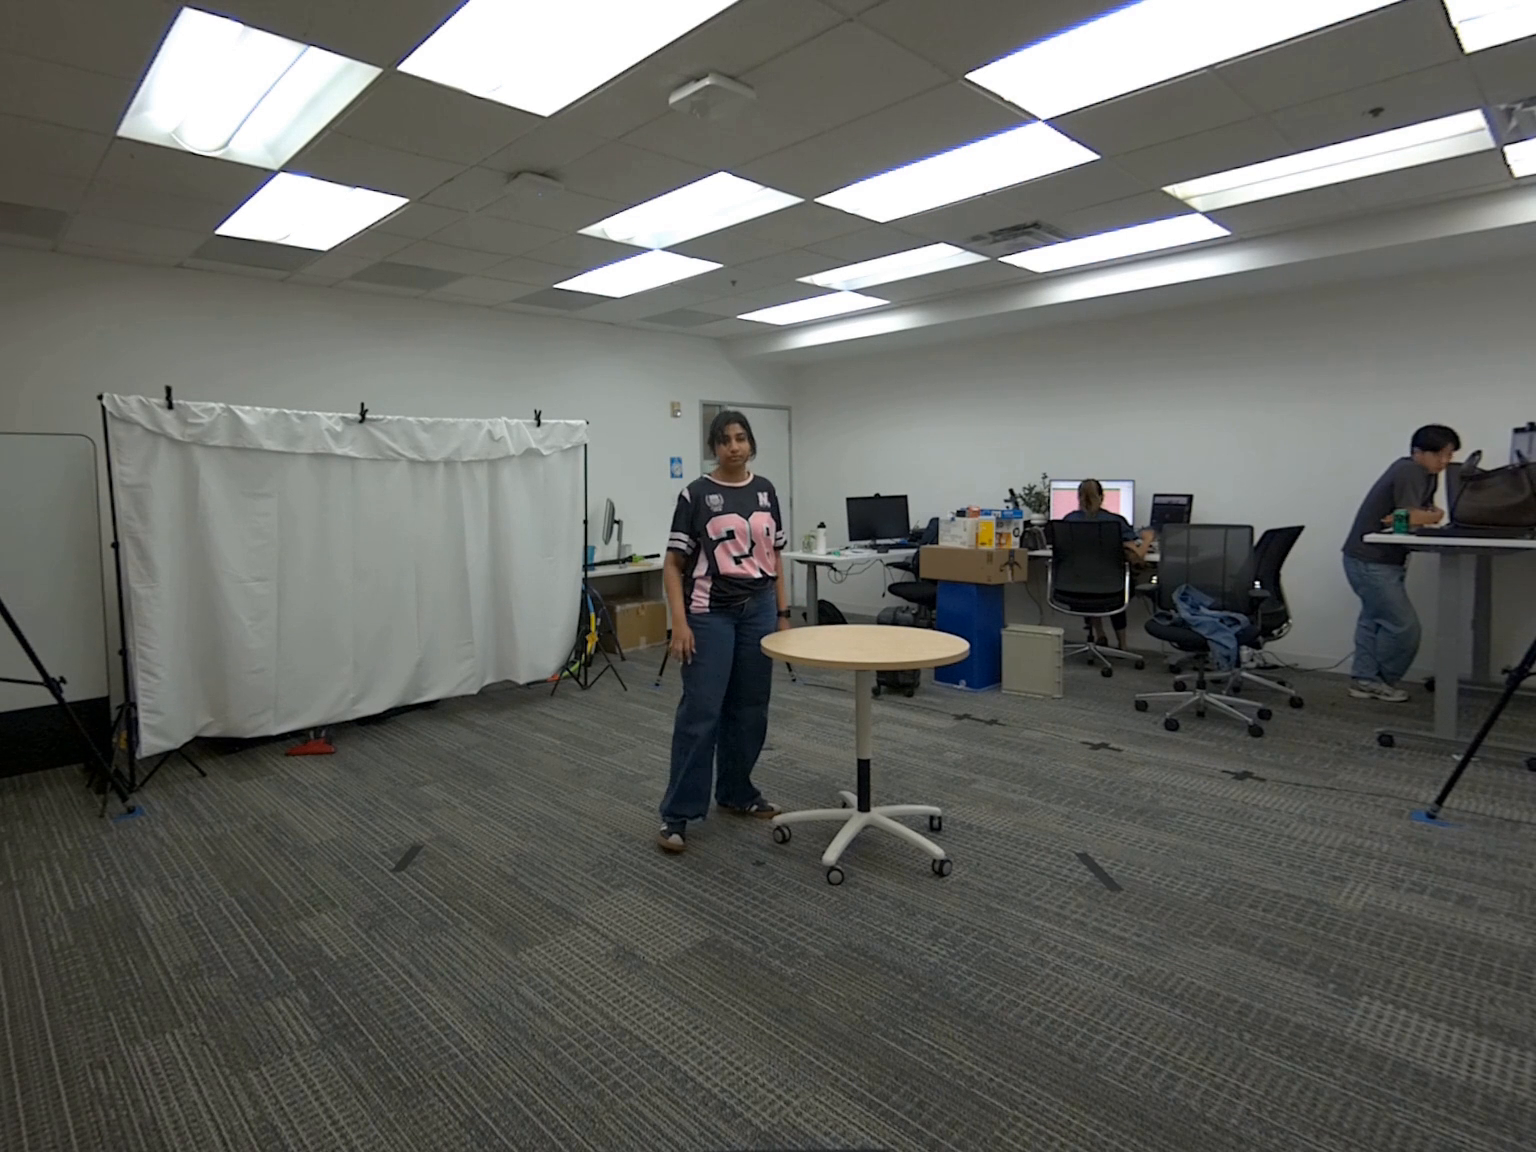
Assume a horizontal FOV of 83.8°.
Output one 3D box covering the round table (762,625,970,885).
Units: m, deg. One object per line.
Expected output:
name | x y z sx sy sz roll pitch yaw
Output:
round table | 0.371 0.635 3.221 0.784 0.783 0.789 -1 5 -2
